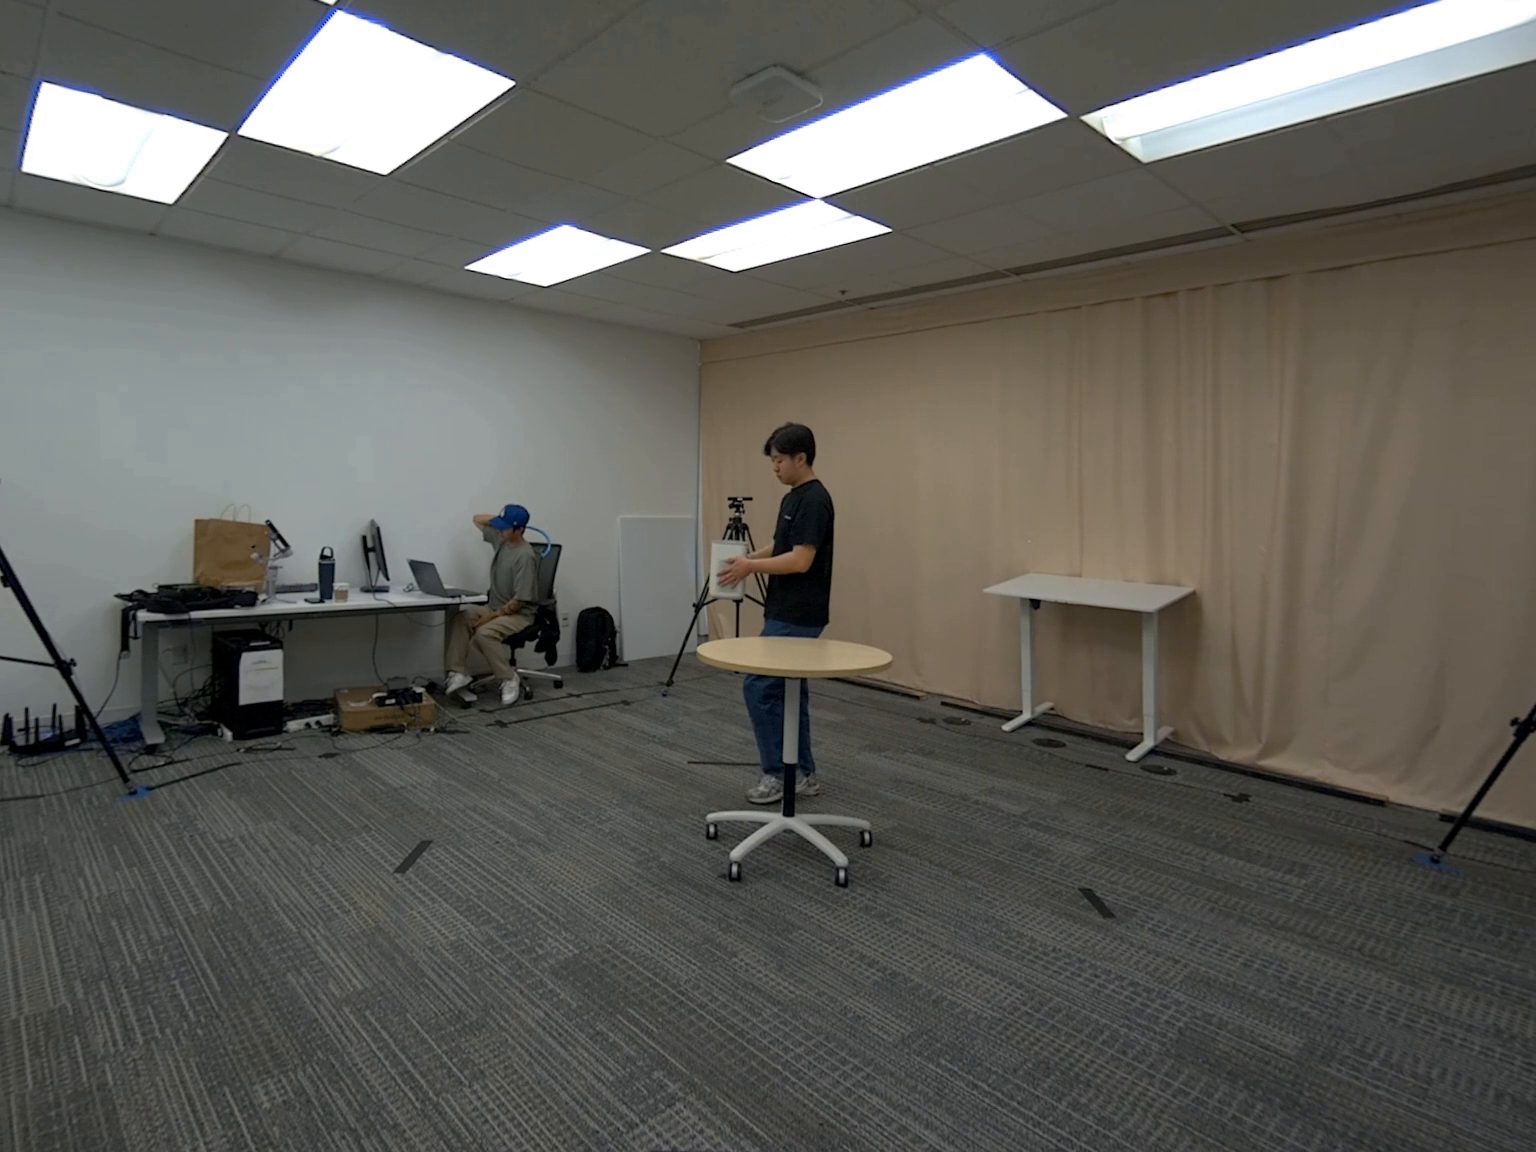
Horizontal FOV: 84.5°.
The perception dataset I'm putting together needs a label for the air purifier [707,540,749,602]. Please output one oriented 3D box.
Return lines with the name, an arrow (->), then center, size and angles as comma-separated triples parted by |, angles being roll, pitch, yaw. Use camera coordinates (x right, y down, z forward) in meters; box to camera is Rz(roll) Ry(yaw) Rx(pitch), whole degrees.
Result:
air purifier -> -0.190, -0.028, 3.947 | 0.171, 0.265, 0.172 | 3, 3, -5
